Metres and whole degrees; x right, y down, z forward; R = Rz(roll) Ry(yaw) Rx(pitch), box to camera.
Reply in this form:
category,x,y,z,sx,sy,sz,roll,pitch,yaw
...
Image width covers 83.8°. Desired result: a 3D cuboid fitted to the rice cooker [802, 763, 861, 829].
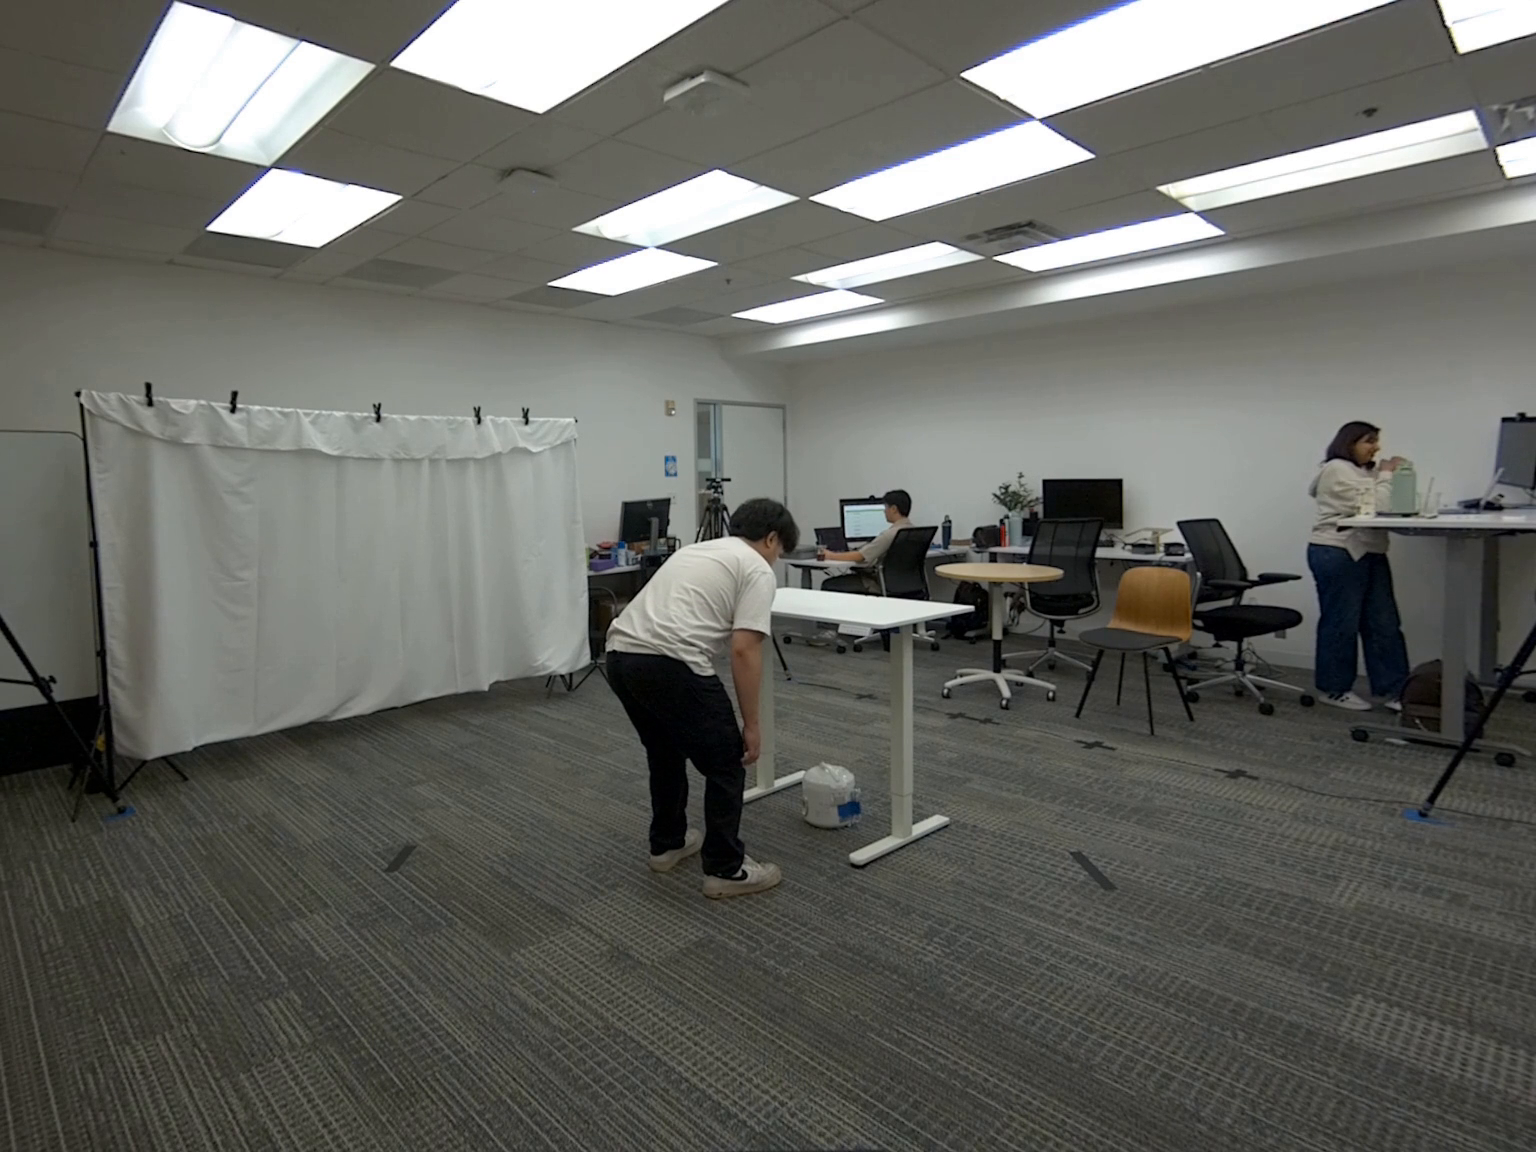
category,x,y,z,sx,sy,sz,roll,pitch,yaw
rice cooker,0.244,0.880,3.464,0.214,0.232,0.225,-2,5,-17
